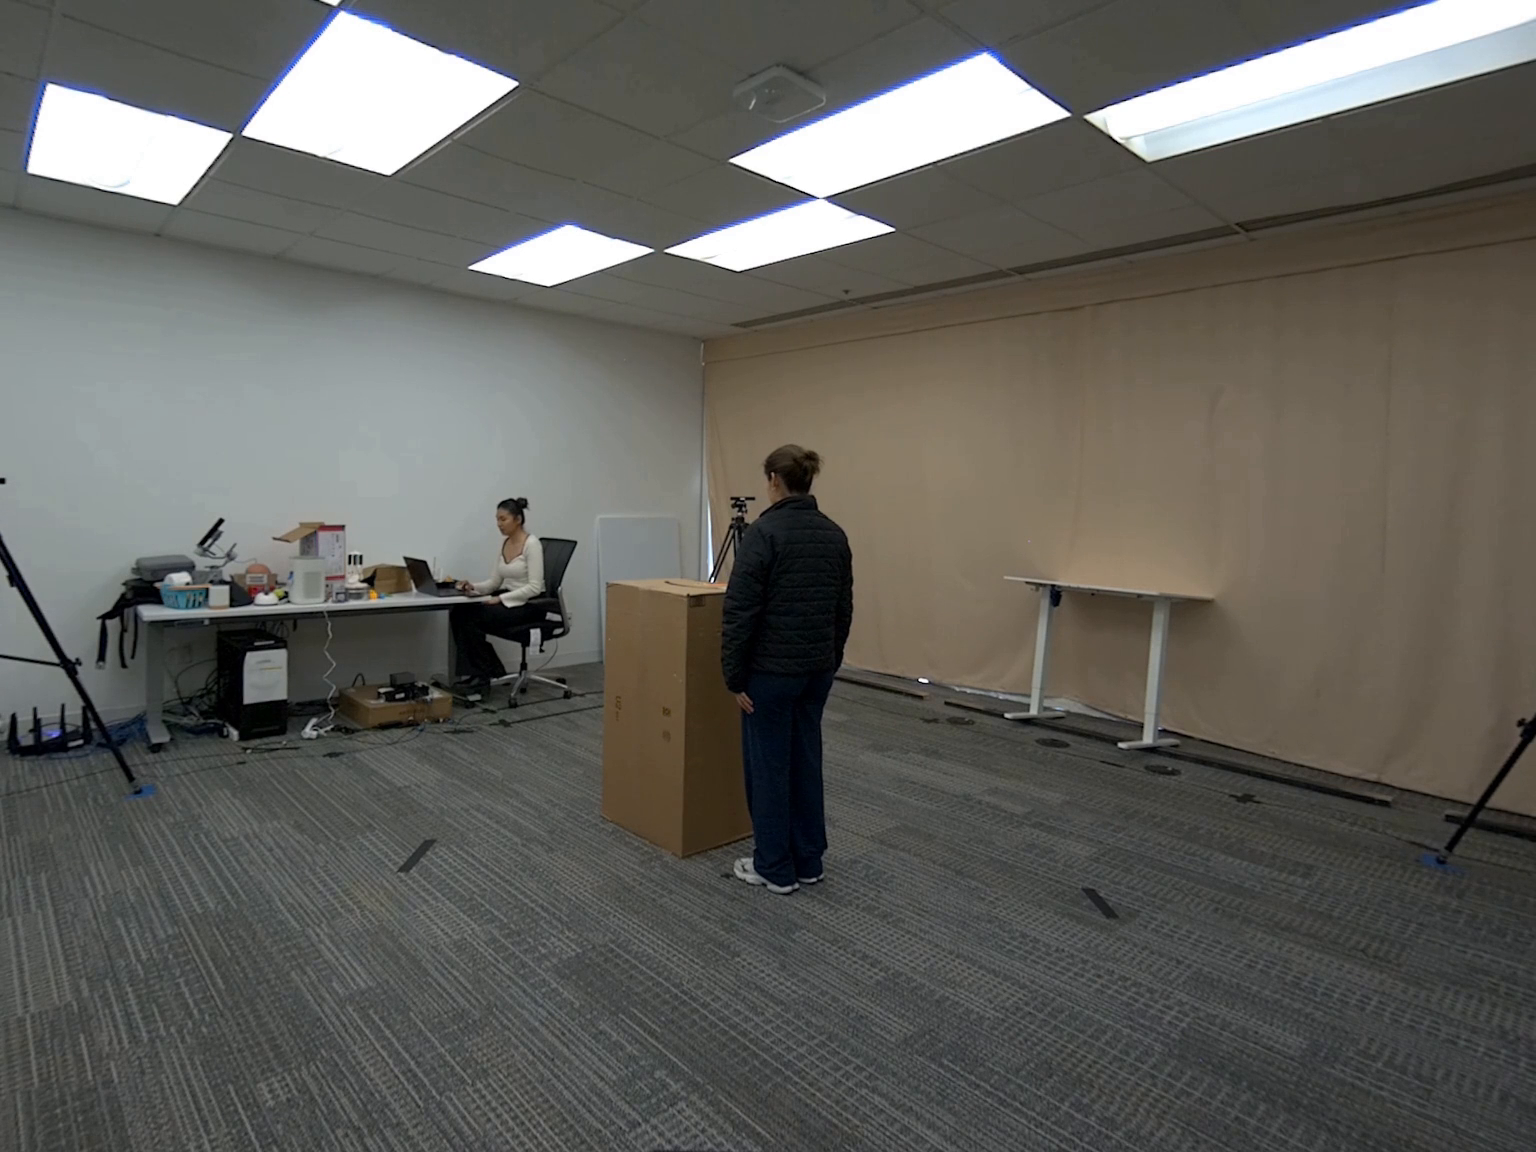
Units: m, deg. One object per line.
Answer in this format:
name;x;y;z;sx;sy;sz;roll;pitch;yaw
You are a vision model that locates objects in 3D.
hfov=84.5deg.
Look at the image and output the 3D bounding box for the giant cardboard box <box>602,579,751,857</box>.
giant cardboard box;-0.371;0.553;3.558;0.416;1.023;0.592;-1;4;-43
